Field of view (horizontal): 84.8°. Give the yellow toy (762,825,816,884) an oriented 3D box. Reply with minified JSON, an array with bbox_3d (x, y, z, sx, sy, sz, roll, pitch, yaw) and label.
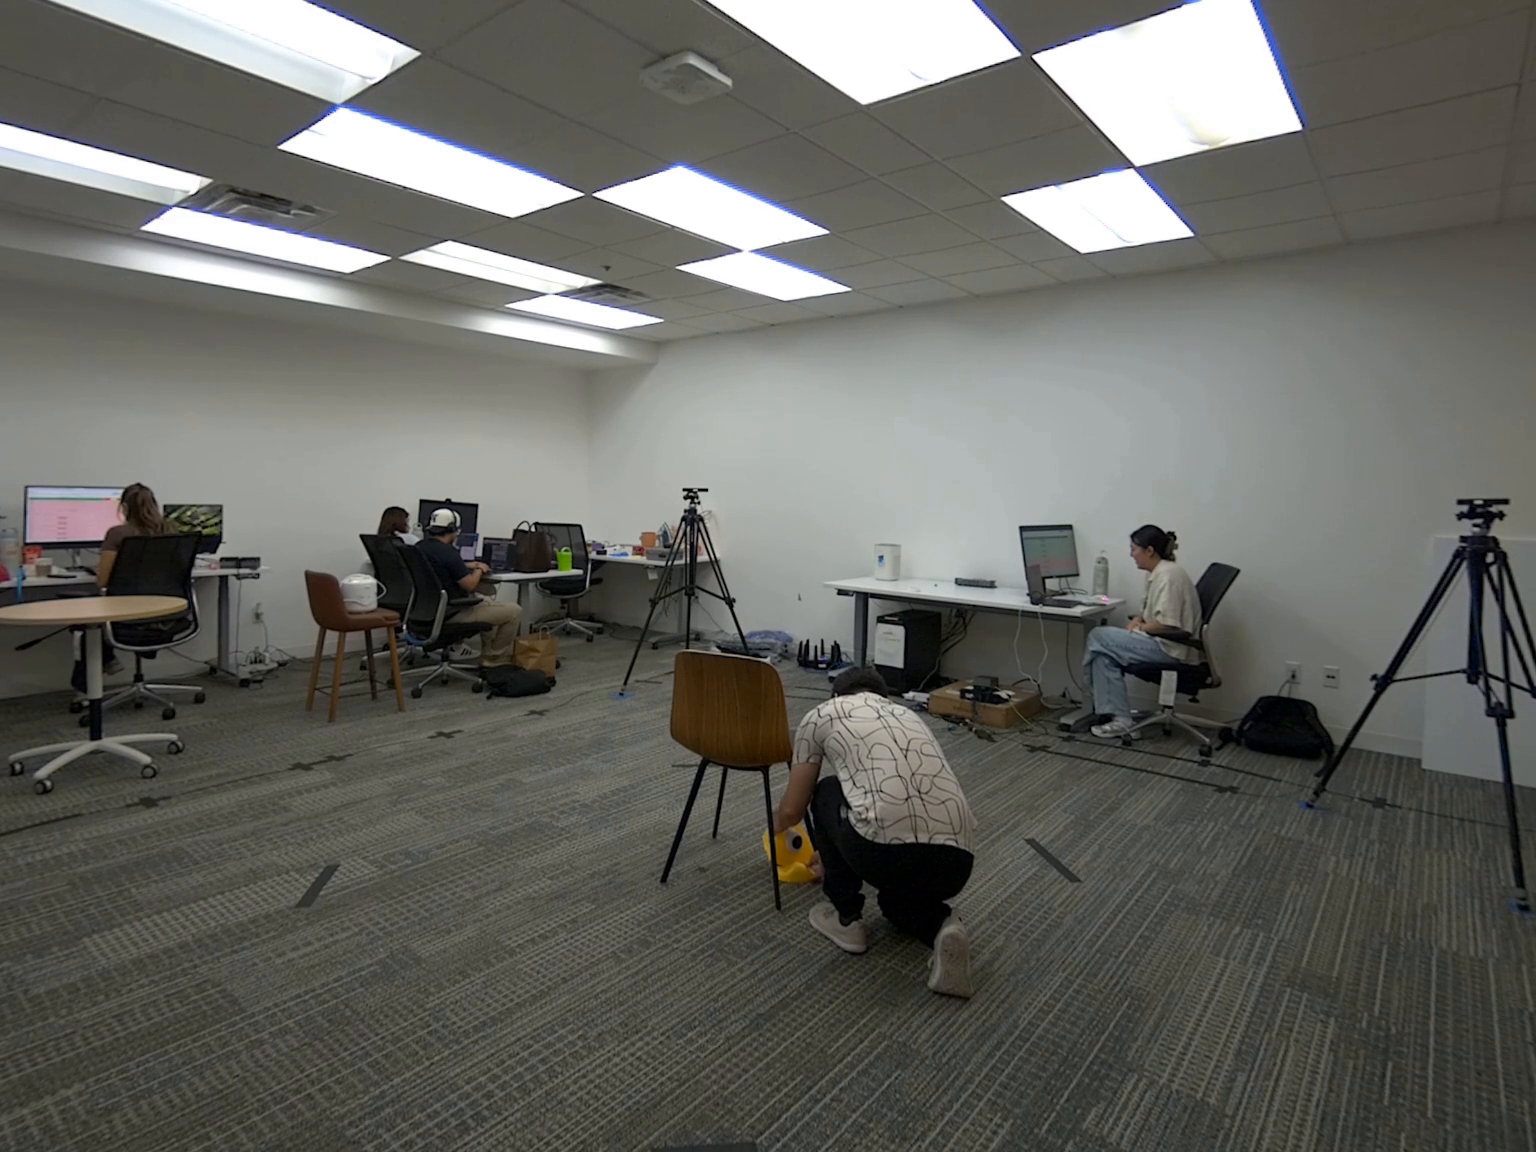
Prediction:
[{"bbox_3d":[0.085,0.964,3.118,0.191,0.230,0.207,4,4,-8],"label":"yellow toy"}]
